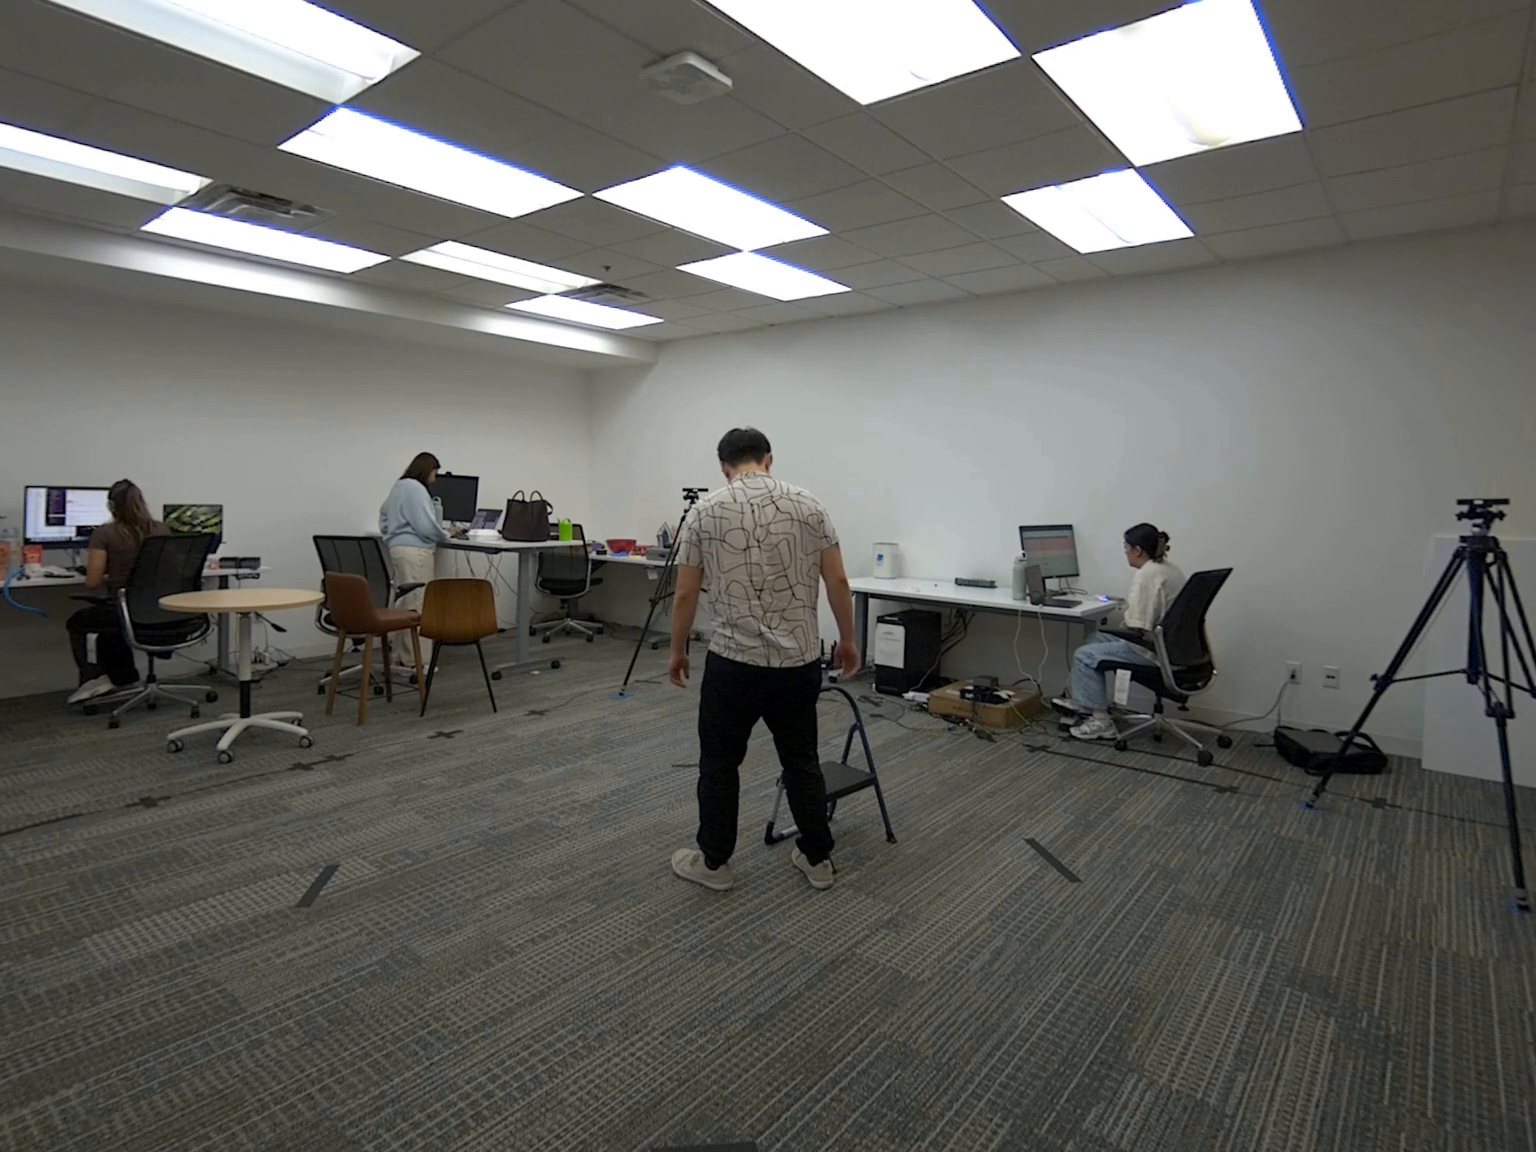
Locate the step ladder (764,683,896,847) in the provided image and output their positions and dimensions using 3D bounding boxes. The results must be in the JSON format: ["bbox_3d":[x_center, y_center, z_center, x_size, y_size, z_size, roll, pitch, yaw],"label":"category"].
[{"bbox_3d":[0.250,0.752,3.361,0.361,0.604,0.417,5,4,43],"label":"step ladder"}]
